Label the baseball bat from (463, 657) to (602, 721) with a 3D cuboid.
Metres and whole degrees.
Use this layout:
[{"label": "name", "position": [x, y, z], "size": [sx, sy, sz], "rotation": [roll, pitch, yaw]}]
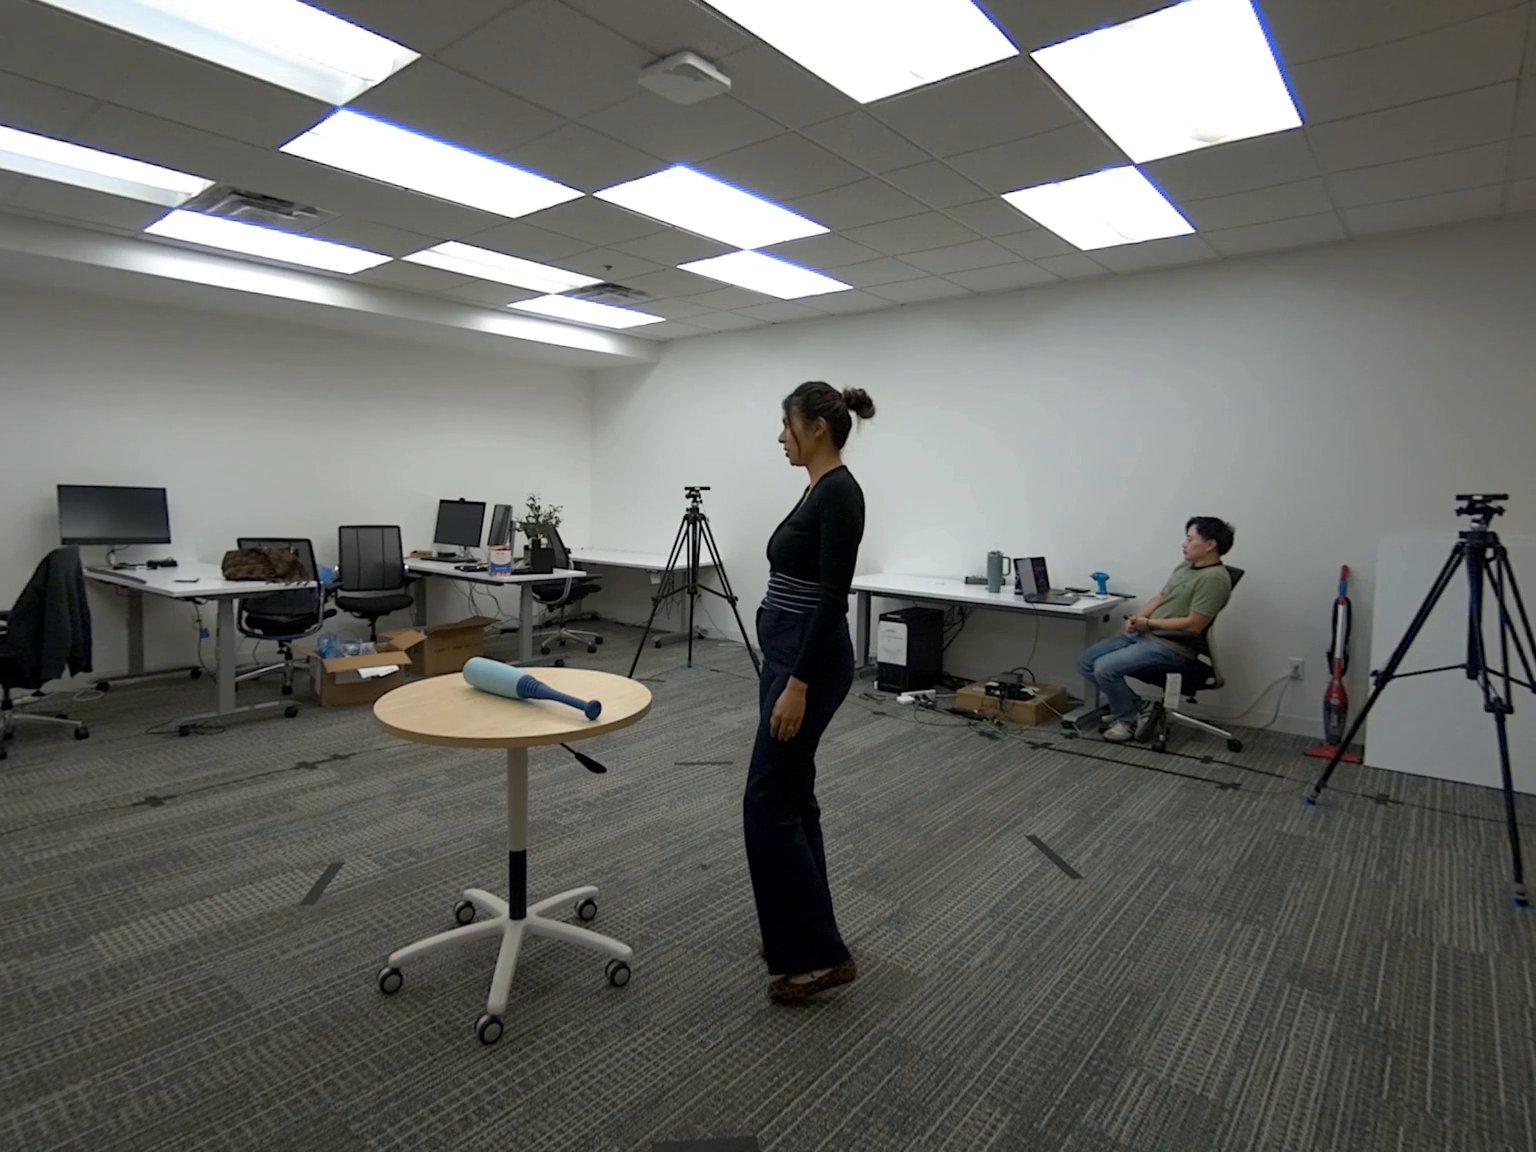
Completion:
[{"label": "baseball bat", "position": [-0.674, 0.316, 2.371], "size": [0.562, 0.088, 0.086], "rotation": [8, 7, 37]}]
